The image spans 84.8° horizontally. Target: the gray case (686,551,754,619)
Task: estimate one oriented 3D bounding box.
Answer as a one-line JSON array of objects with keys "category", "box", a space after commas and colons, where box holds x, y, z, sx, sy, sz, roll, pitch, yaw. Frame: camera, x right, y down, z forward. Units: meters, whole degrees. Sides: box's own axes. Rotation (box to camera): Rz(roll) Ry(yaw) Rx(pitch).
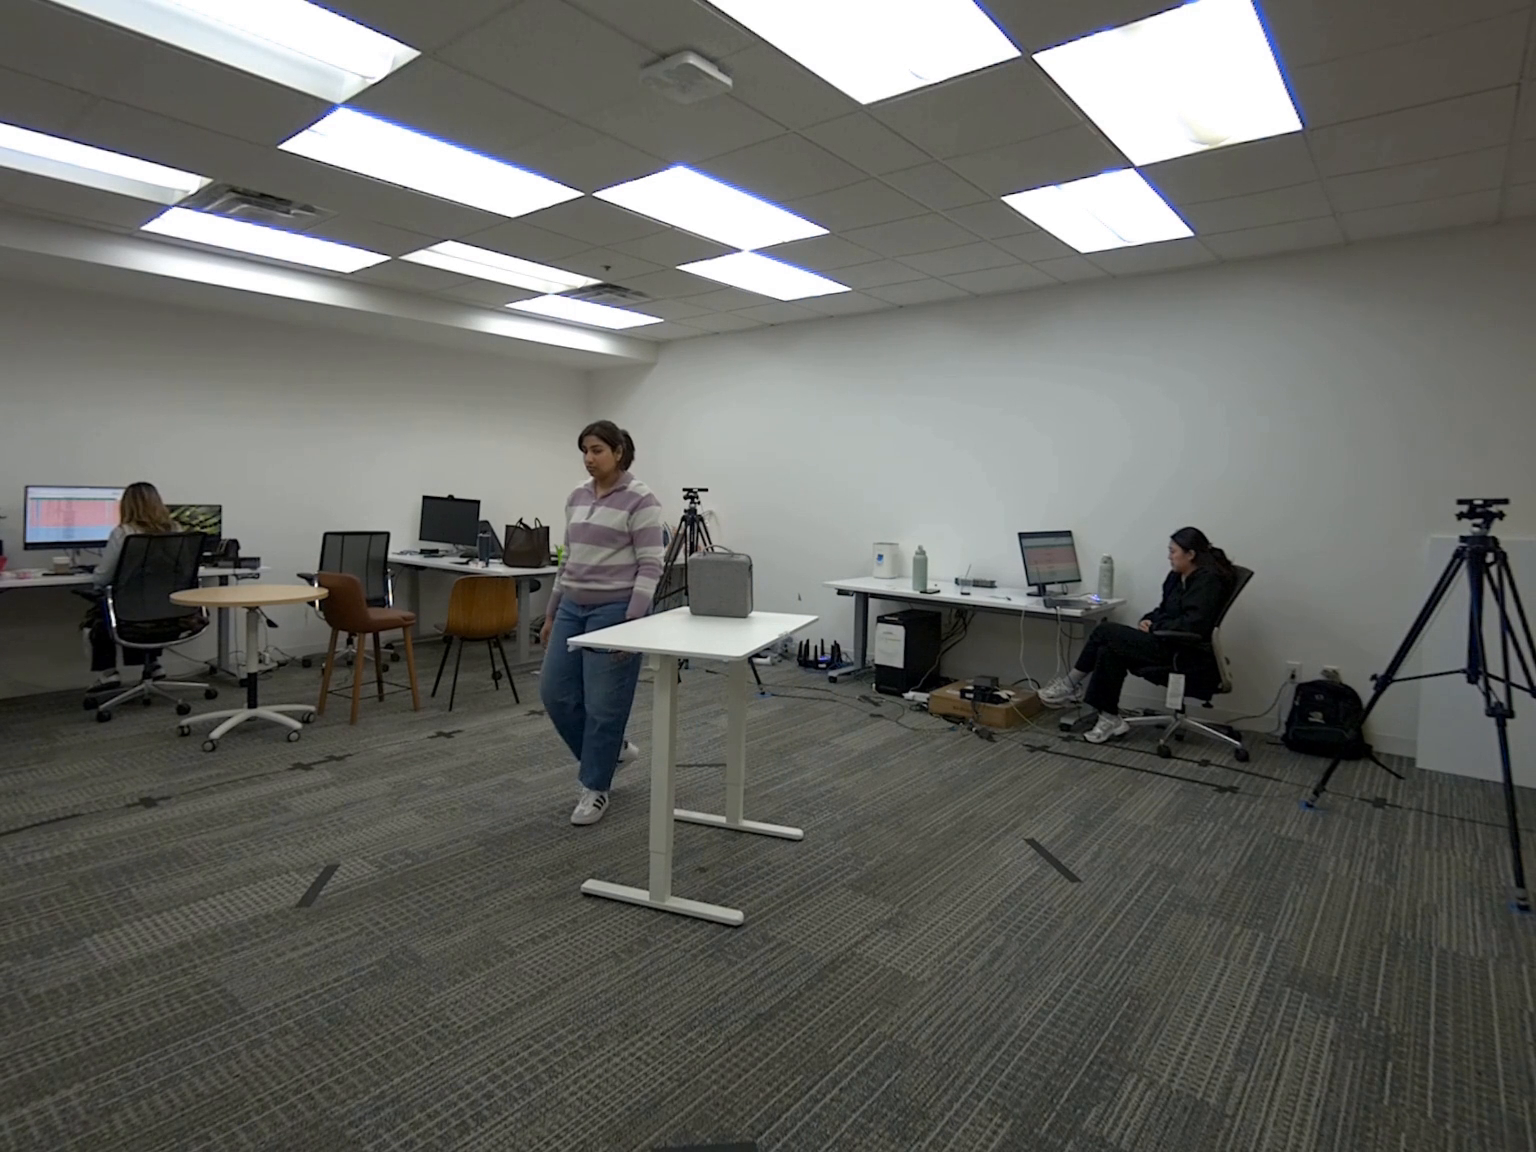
[{"category": "gray case", "box": [-0.199, 0.031, 3.413, 0.260, 0.257, 0.104, 1, 13, 13]}]
